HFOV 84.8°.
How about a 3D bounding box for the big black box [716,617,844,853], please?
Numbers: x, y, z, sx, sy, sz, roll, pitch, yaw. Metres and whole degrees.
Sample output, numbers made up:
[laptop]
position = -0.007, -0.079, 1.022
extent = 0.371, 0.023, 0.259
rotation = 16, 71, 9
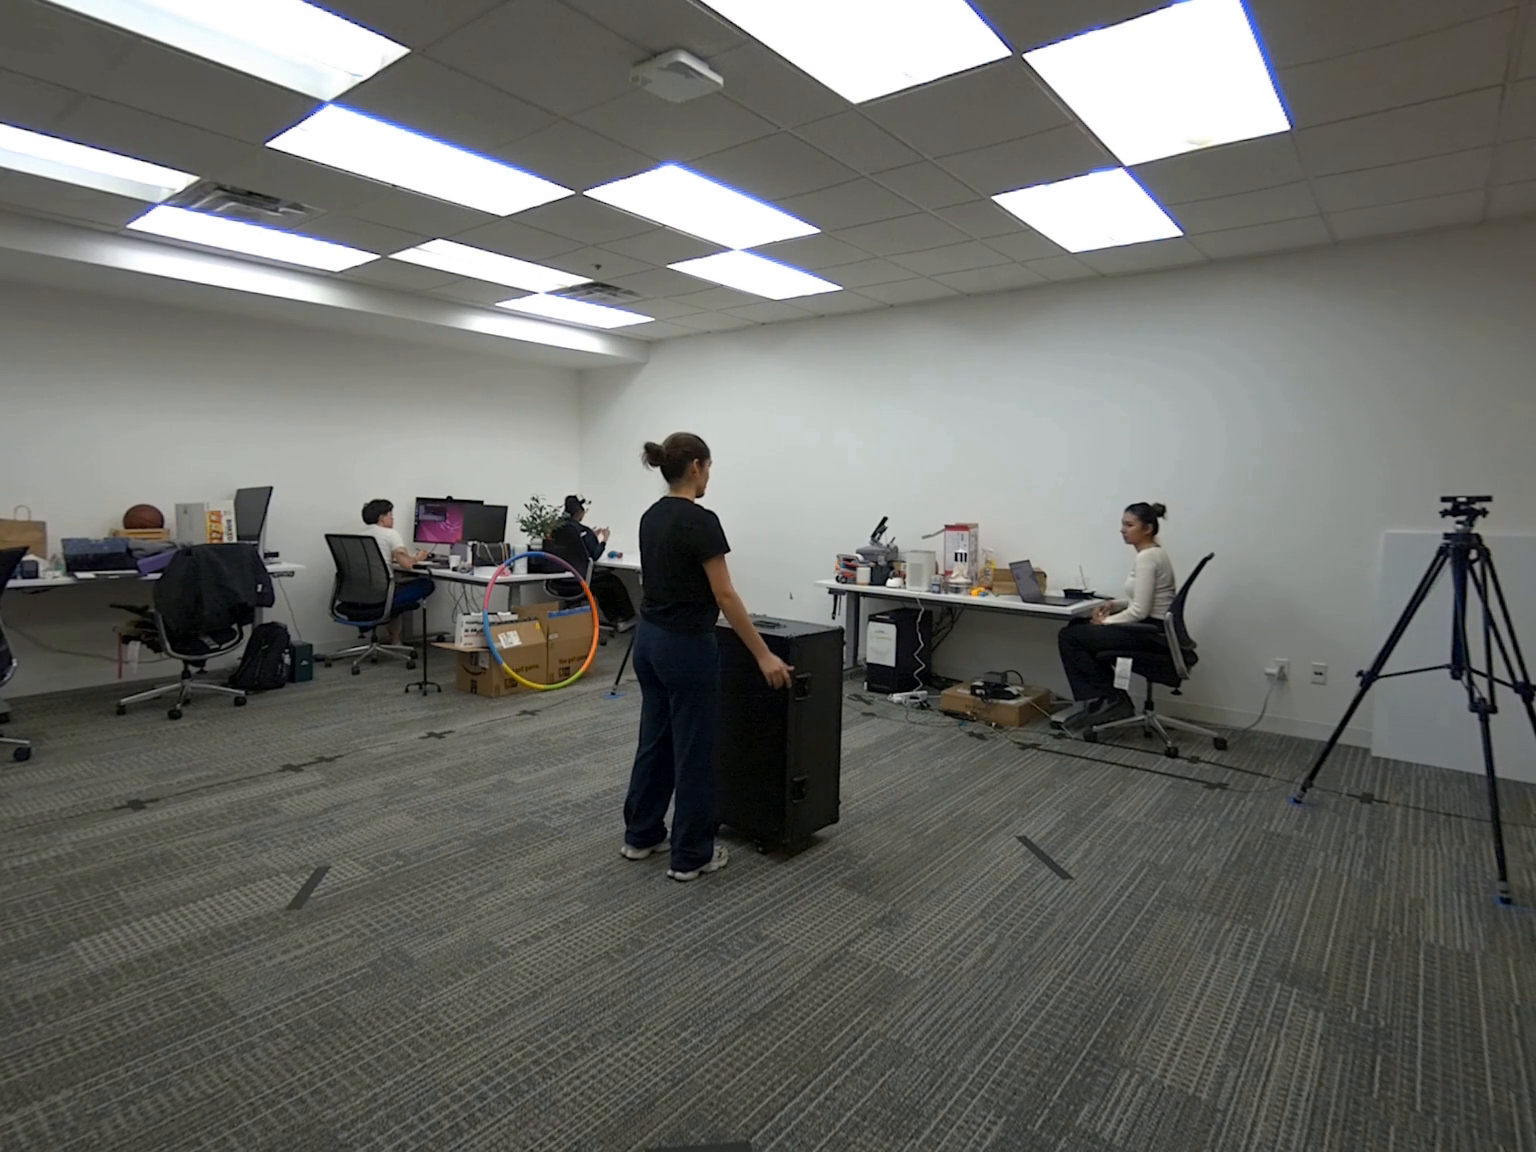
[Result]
[big black box]
position = 0.017, 0.616, 3.425
extent = 0.539, 0.860, 0.384
rotation = 4, 3, 41
